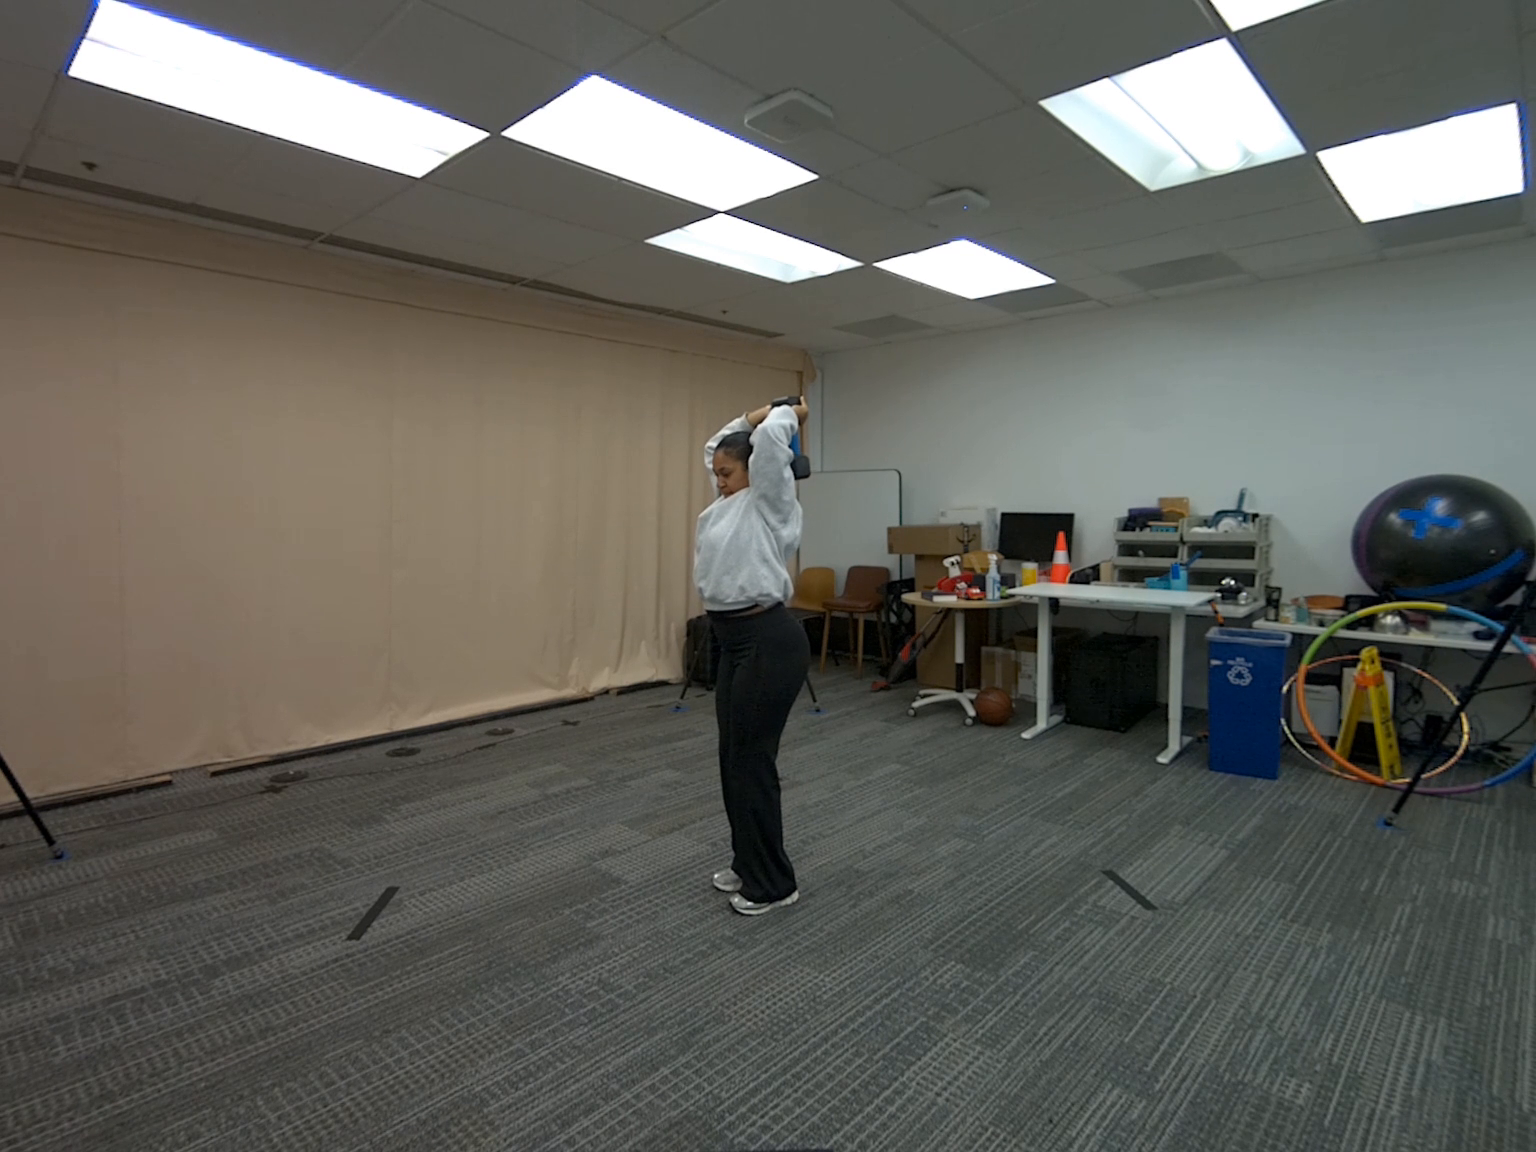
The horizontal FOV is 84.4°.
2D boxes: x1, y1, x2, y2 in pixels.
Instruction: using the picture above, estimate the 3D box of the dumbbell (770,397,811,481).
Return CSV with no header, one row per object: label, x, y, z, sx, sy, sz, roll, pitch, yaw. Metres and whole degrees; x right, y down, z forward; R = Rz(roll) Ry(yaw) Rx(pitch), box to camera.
dumbbell,0.086,-0.492,3.000,0.126,0.293,0.106,-5,2,29
